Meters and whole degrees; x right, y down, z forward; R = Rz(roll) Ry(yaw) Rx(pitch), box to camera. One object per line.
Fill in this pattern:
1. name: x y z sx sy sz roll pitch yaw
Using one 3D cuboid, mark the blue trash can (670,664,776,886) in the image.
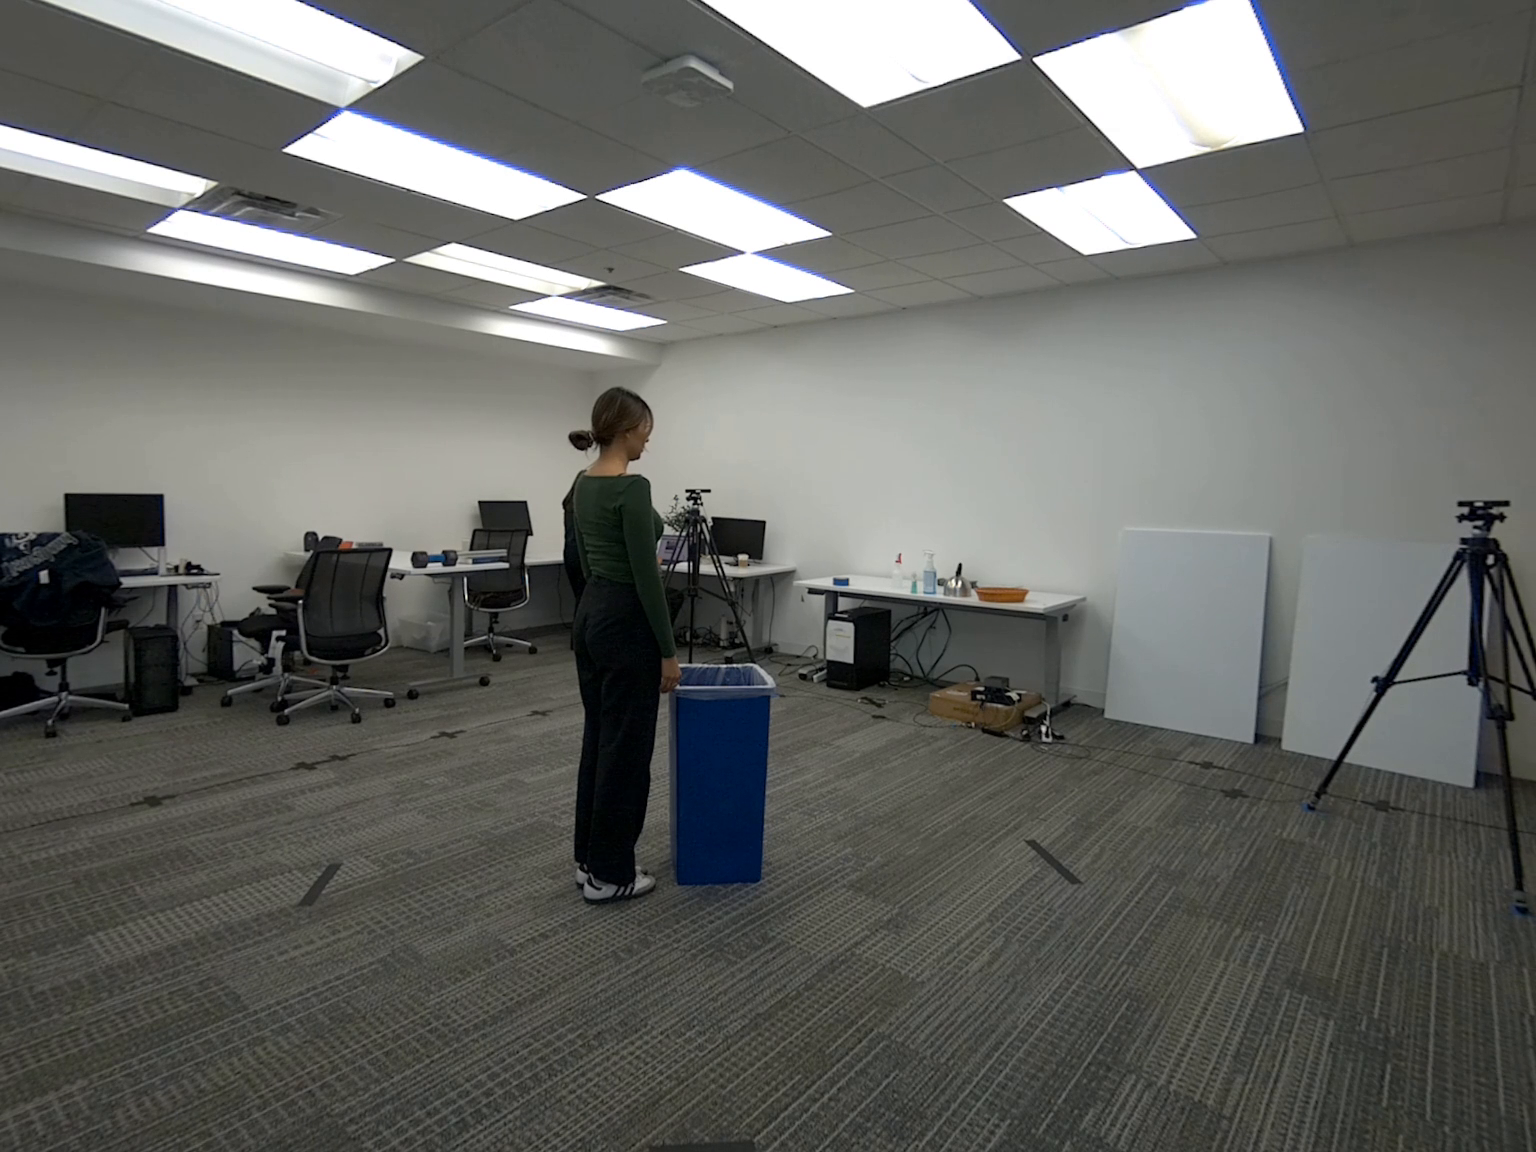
1. blue trash can: -0.199 0.715 3.136 0.370 0.711 0.383 0 4 -10
